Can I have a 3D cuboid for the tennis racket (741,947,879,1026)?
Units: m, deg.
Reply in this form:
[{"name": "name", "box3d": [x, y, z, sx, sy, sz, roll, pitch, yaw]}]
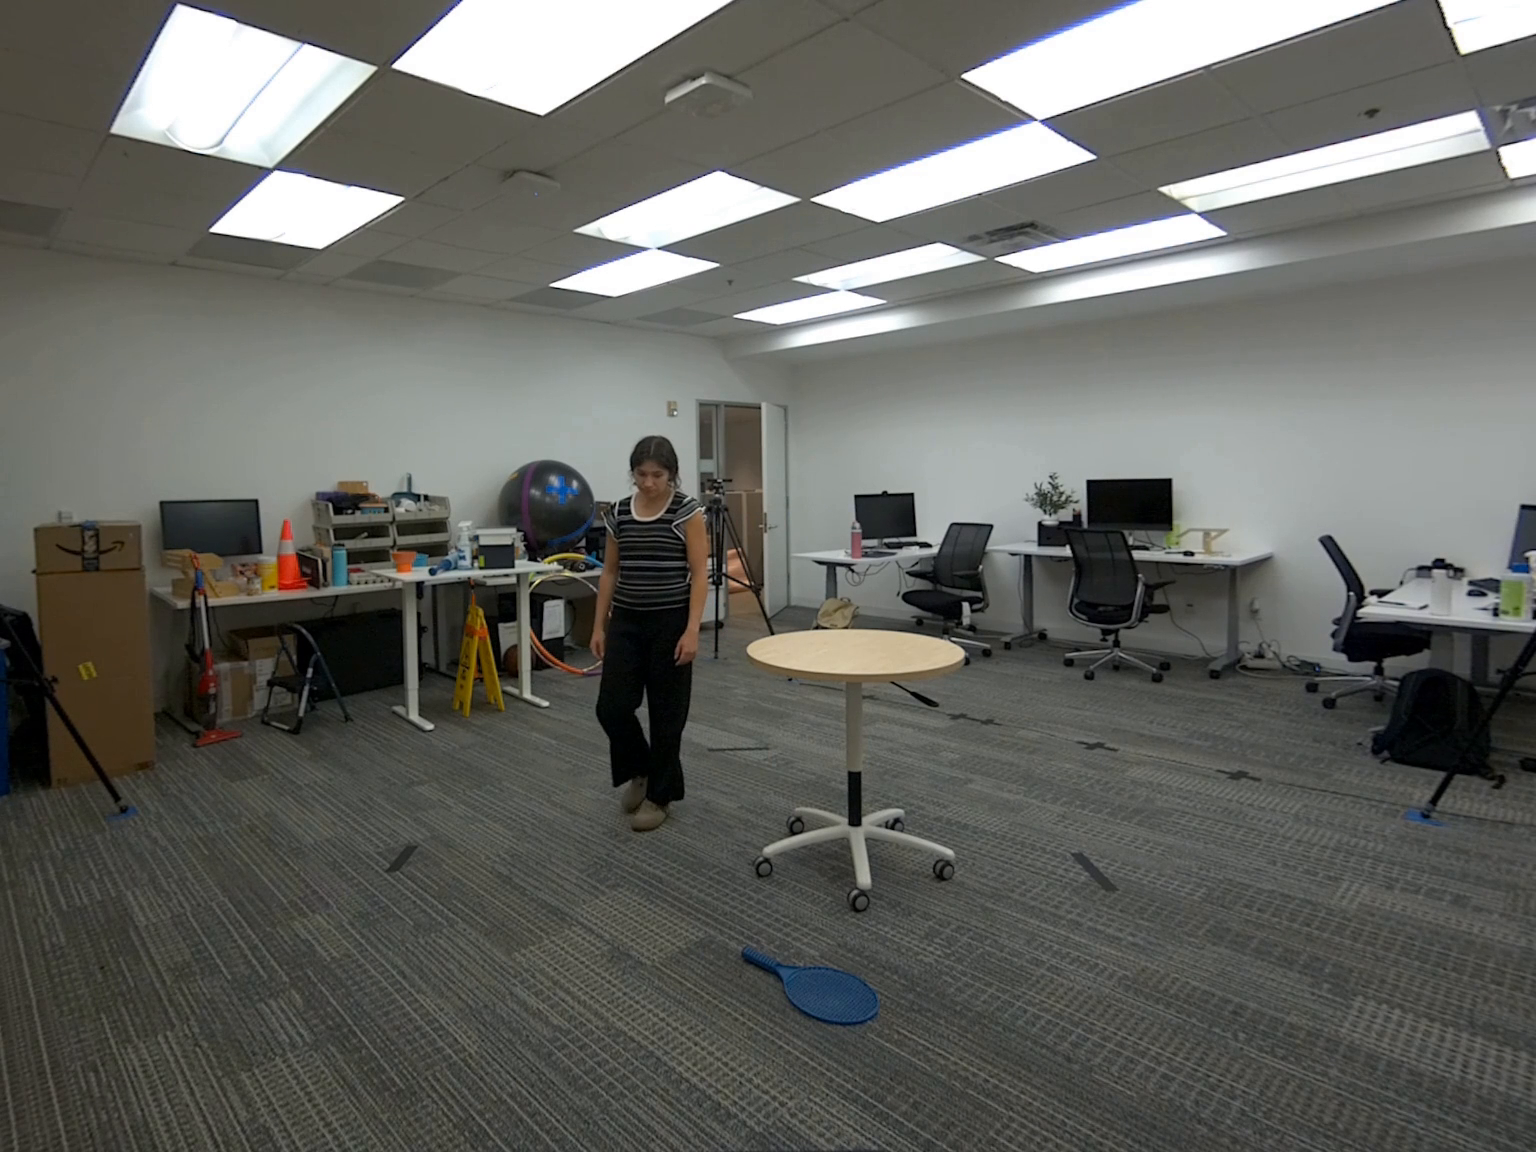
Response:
[{"name": "tennis racket", "box3d": [0.108, 1.119, 2.350, 0.446, 0.031, 0.208, 6, 10, 38]}]
